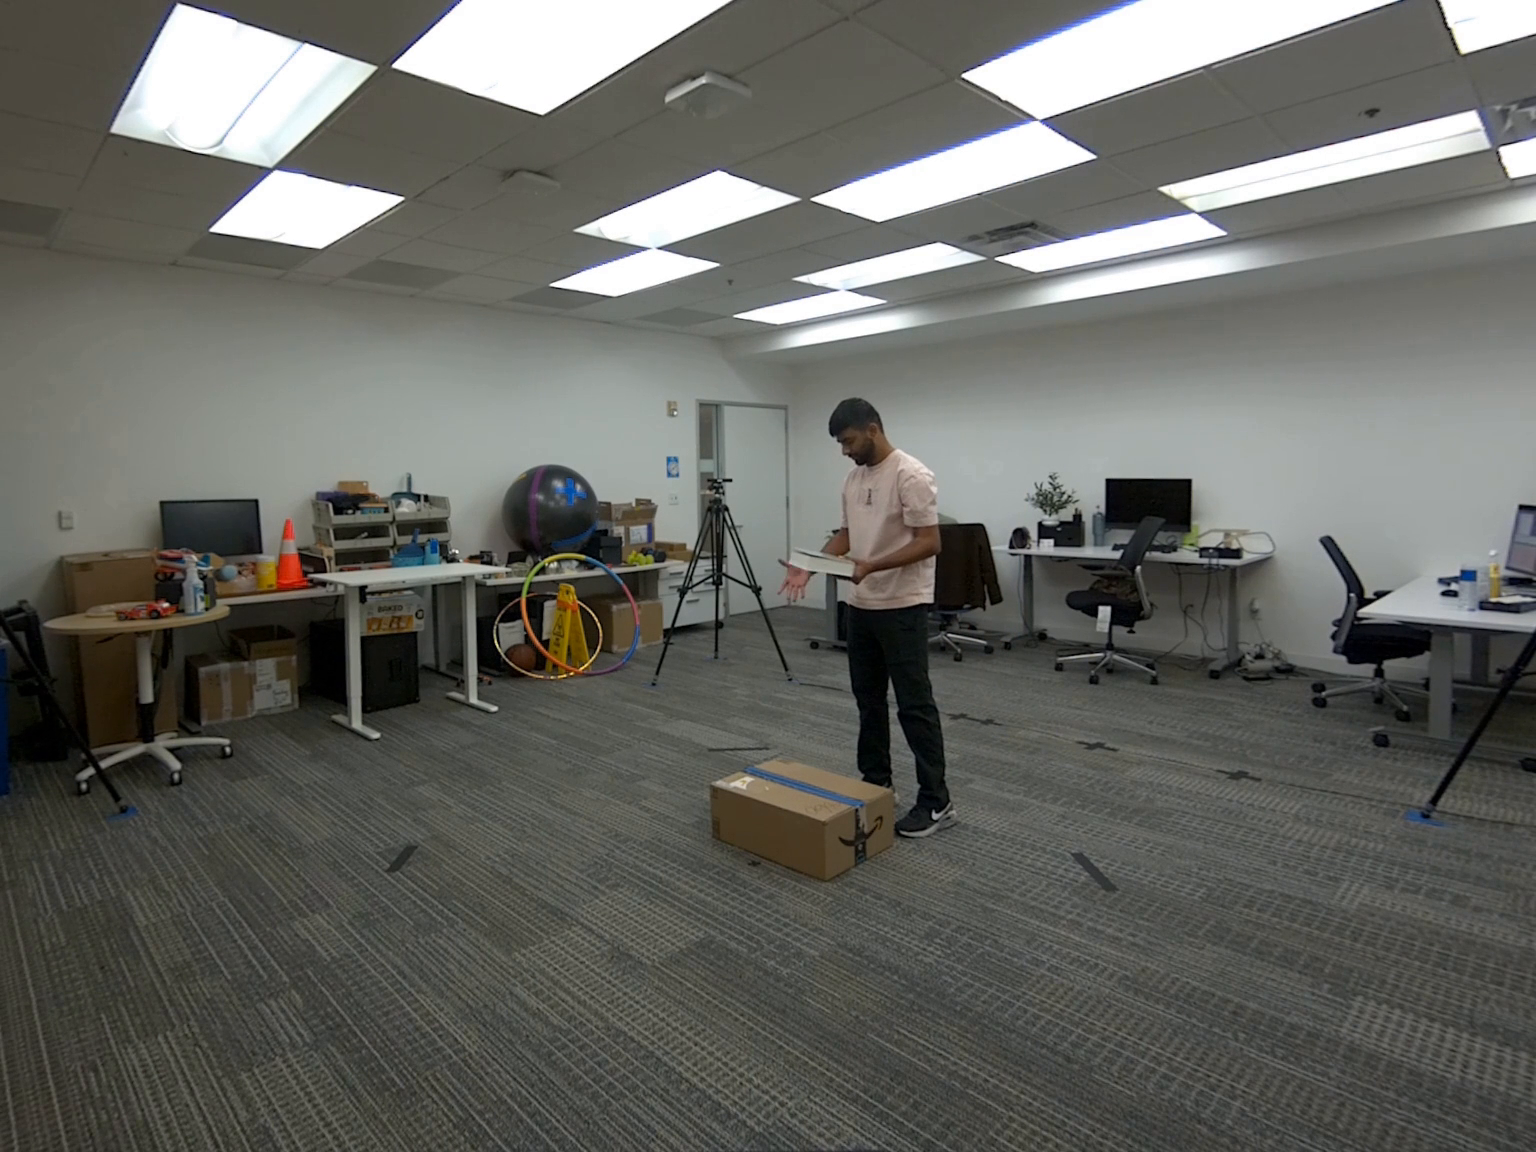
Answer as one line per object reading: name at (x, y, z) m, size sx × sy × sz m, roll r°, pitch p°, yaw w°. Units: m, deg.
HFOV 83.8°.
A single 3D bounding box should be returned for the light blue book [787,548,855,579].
light blue book at (0.212, -0.050, 3.373) m, size 0.188 × 0.059 × 0.266 m, roll 8°, pitch 3°, yaw -17°
